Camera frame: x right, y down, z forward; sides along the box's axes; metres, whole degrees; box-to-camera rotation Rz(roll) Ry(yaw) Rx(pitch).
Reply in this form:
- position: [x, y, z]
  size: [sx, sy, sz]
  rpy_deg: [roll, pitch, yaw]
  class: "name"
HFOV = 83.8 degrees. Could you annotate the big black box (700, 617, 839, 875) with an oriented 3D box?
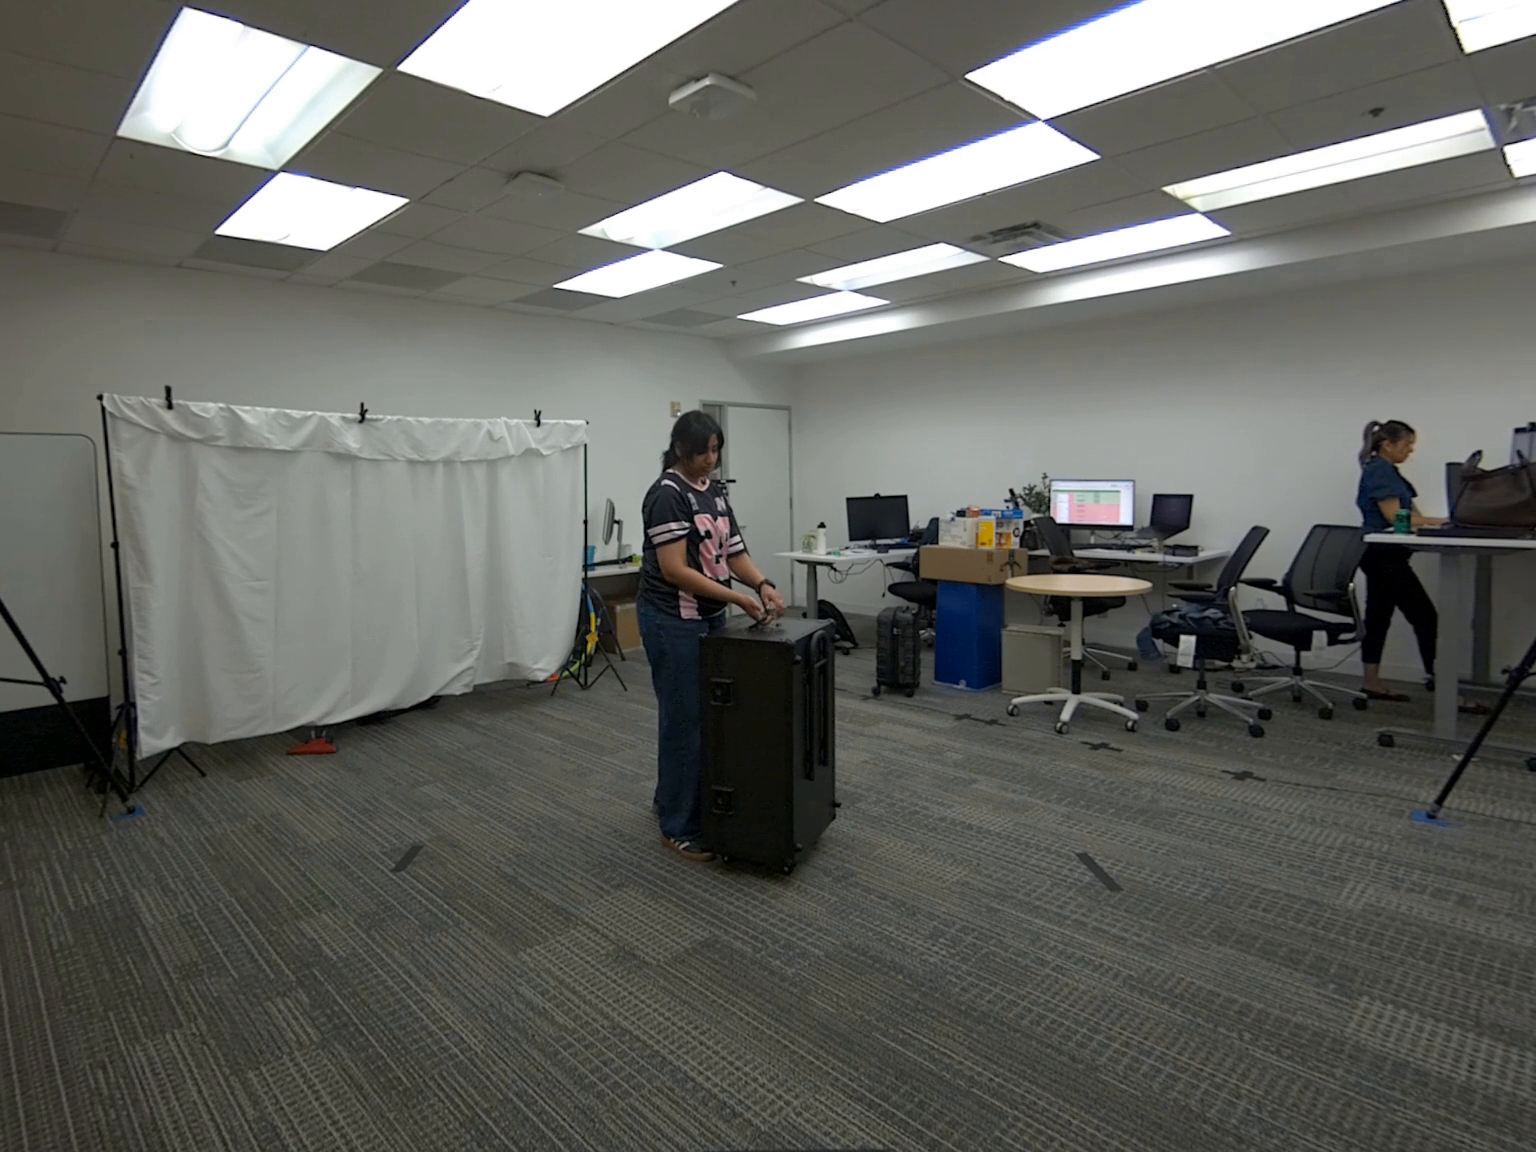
- position: [0.028, 0.618, 3.172]
  size: [0.405, 0.858, 0.512]
  rpy_deg: [2, 5, 23]
  class: "big black box"
